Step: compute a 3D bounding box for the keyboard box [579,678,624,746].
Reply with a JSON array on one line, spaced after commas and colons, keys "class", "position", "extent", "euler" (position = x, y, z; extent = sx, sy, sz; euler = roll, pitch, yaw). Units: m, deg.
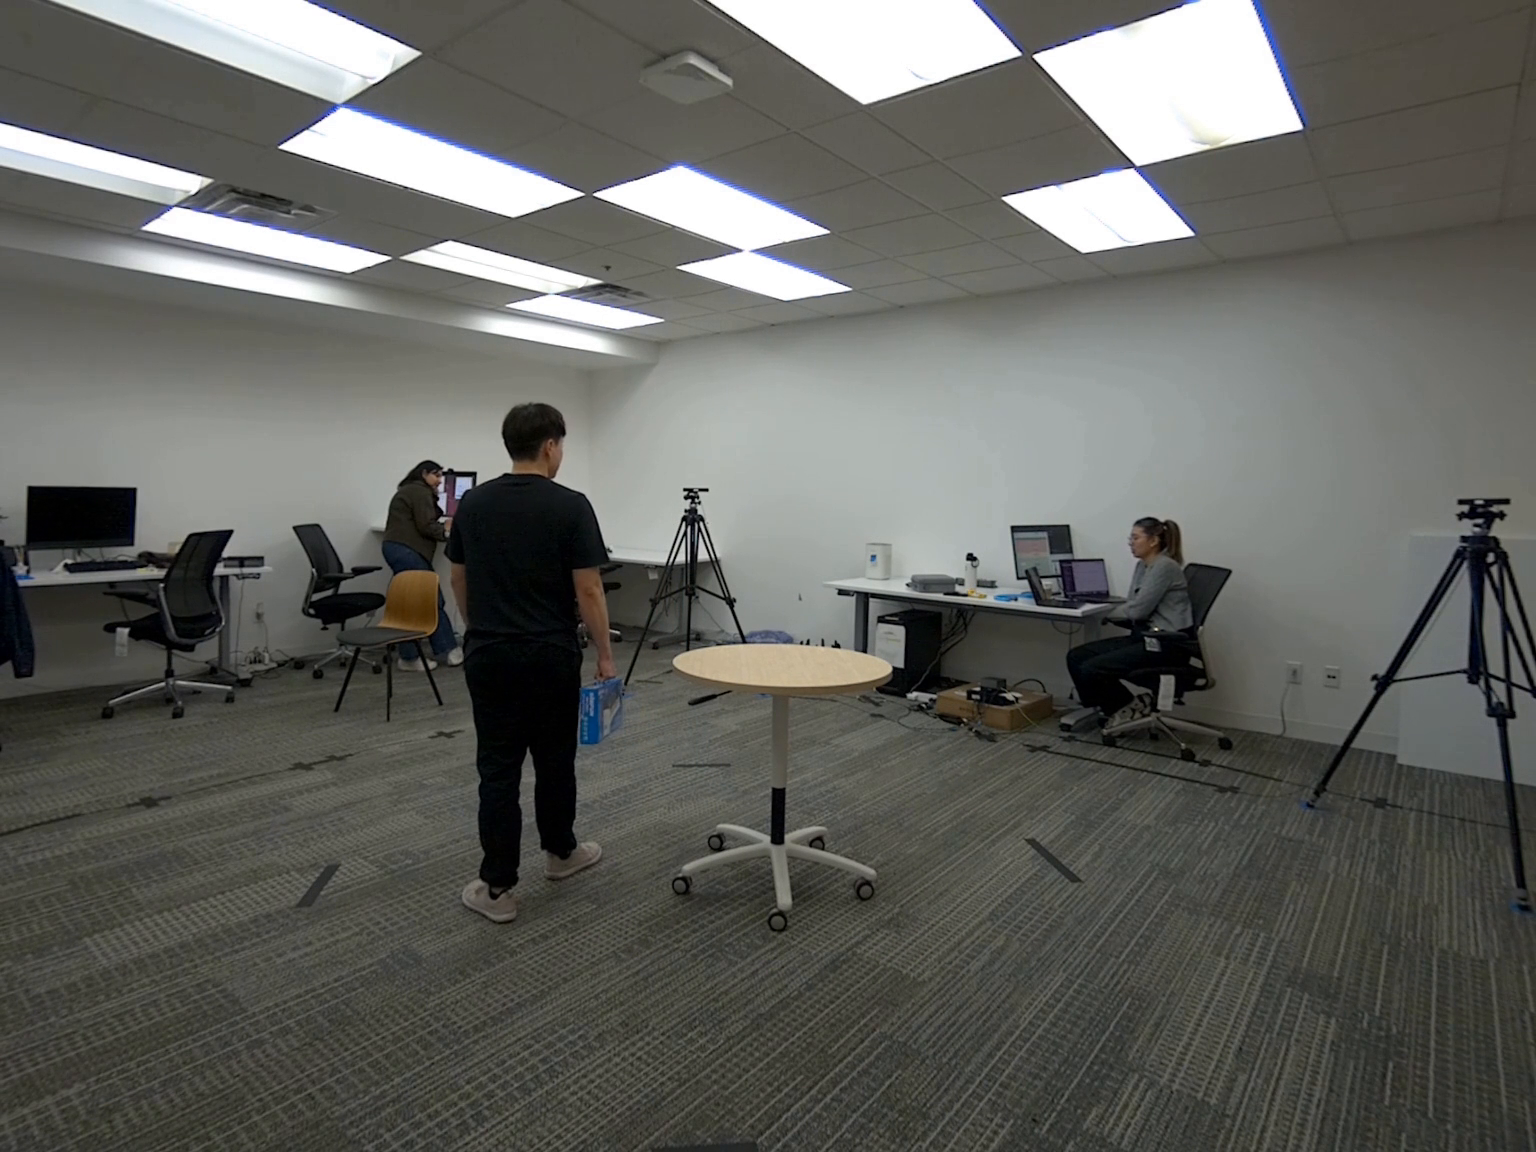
[{"class": "keyboard box", "position": [-0.573, 0.452, 2.882], "extent": [0.059, 0.176, 0.435], "euler": [1, 0, 0]}]
